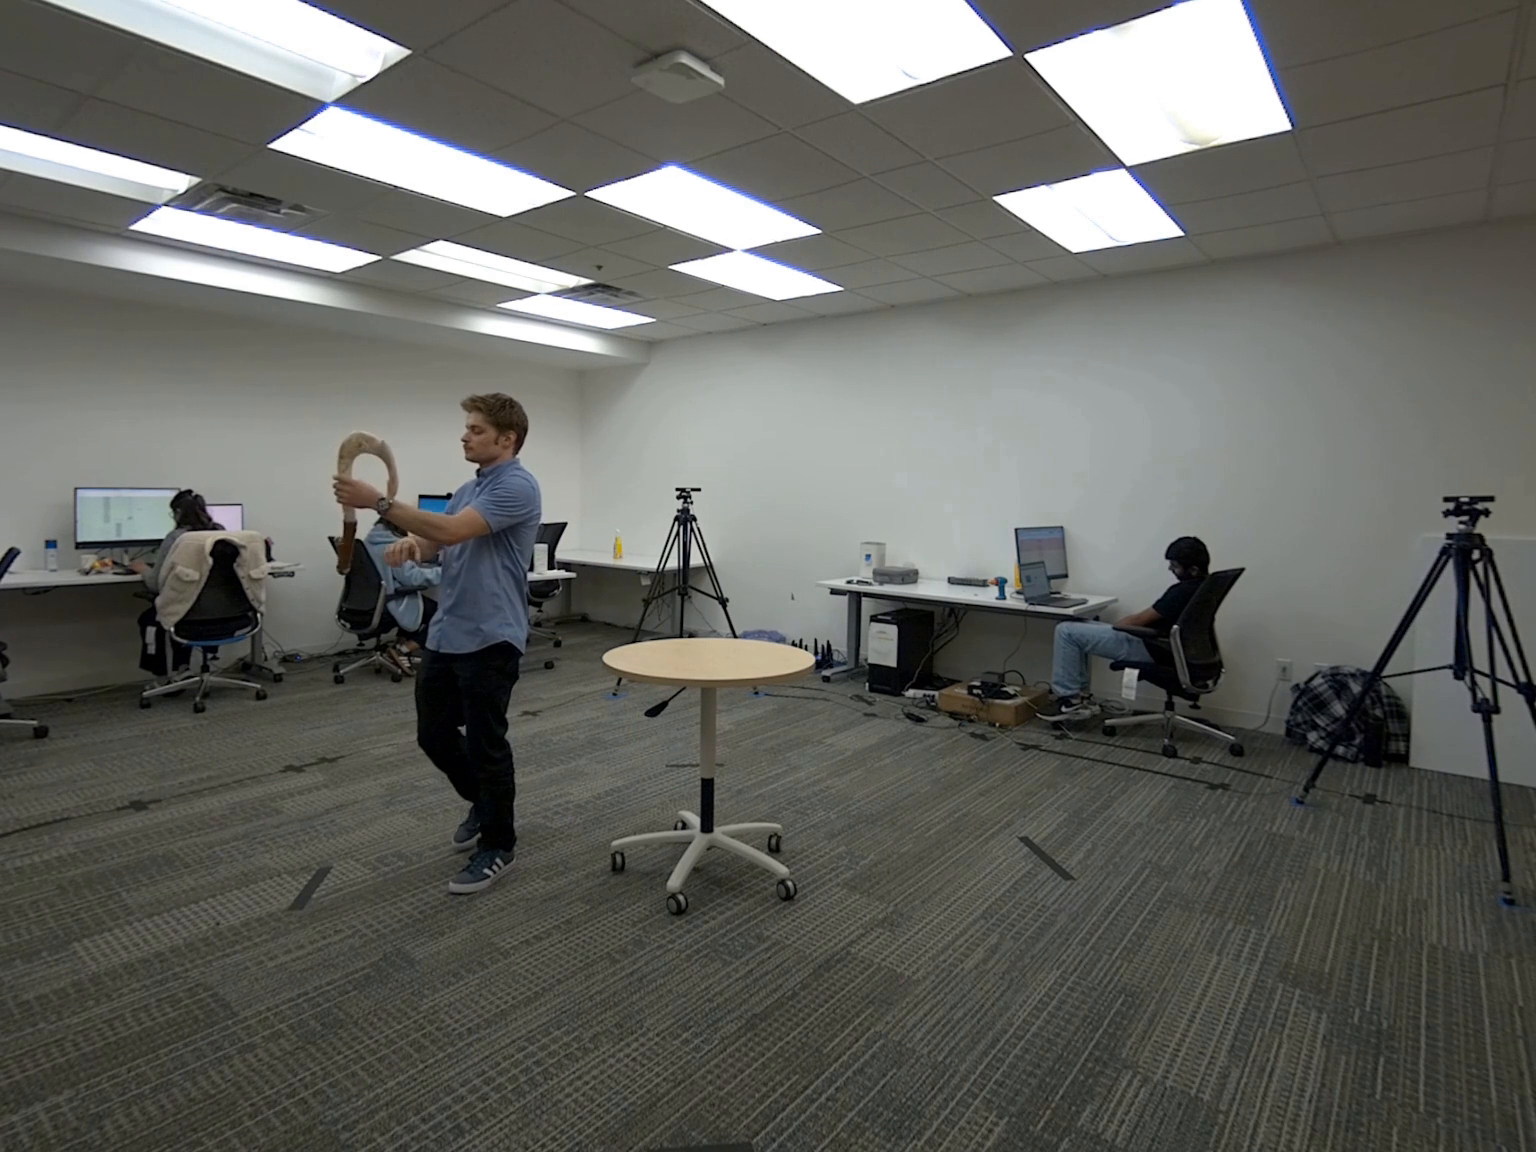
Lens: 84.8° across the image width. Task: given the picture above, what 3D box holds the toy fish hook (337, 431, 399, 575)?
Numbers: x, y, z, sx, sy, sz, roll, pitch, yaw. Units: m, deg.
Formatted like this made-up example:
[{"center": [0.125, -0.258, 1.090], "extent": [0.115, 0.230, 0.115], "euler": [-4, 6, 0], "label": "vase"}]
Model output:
[{"center": [-1.295, -0.207, 2.688], "extent": [0.230, 0.500, 0.048], "euler": [24, 22, 18], "label": "toy fish hook"}]
